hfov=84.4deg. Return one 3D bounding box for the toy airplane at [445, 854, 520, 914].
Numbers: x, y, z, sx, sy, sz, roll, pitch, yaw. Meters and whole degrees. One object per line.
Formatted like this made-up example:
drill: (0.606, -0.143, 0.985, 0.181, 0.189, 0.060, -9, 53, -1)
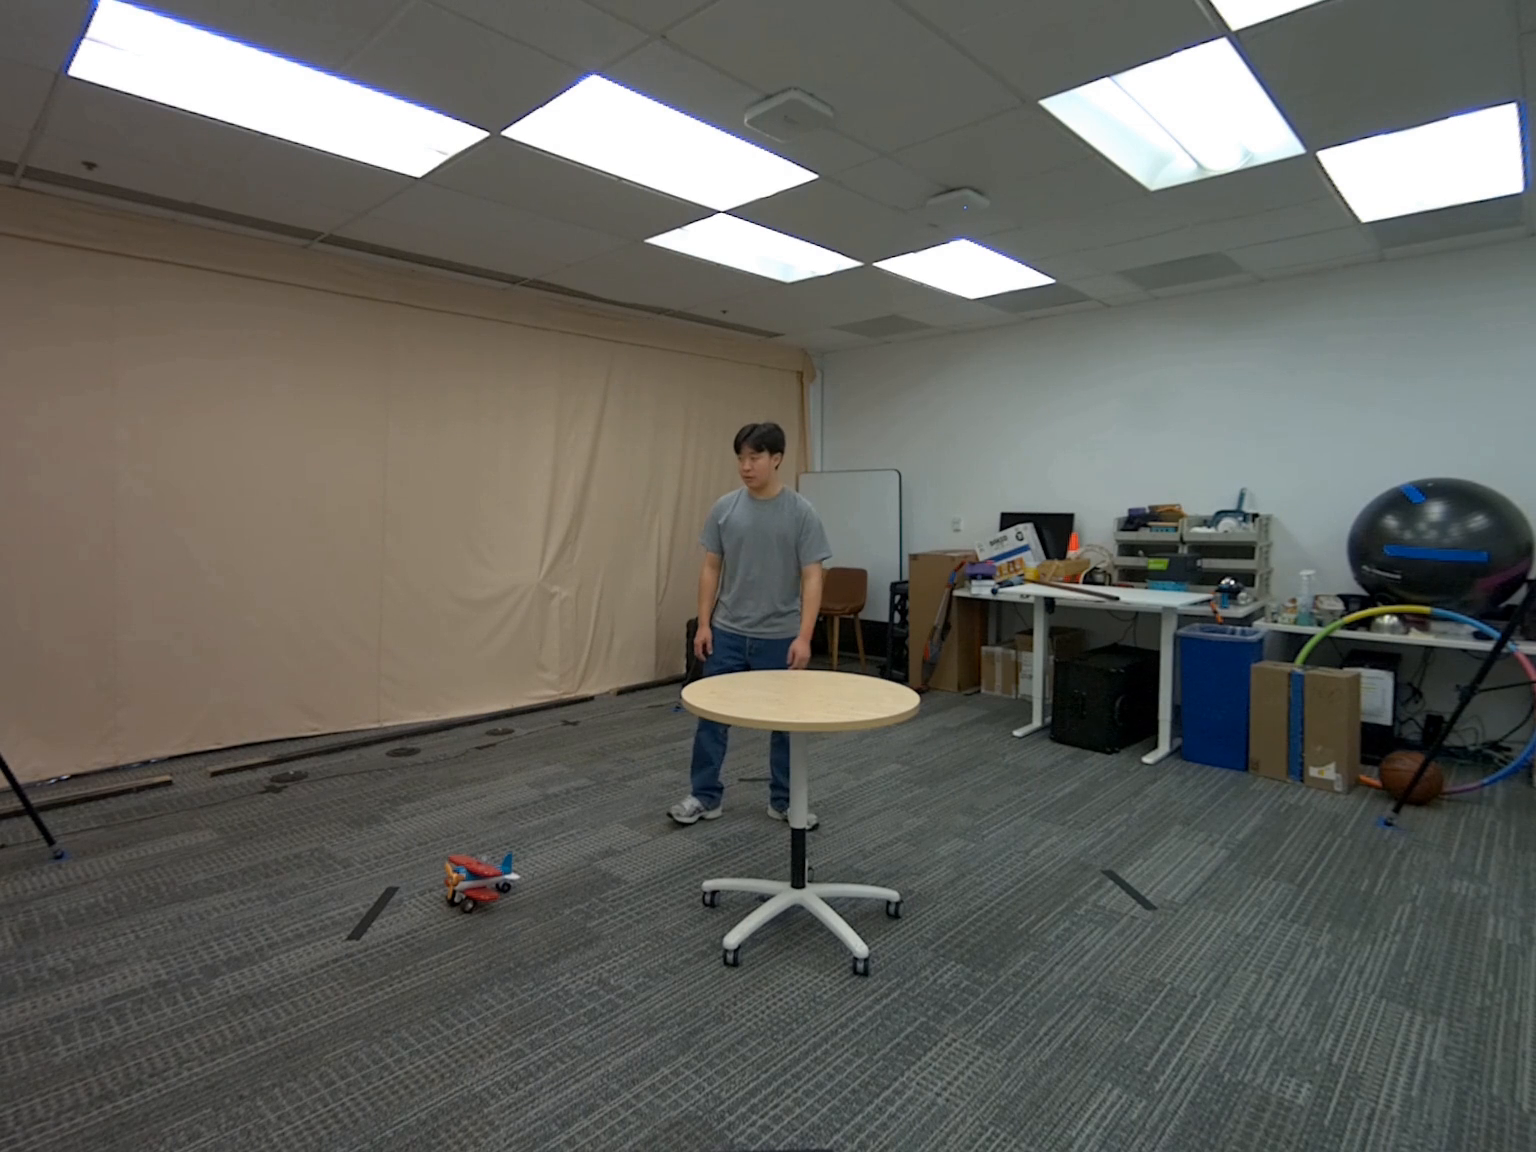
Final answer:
toy airplane: (-1.036, 1.078, 2.991, 0.254, 0.156, 0.257, 1, 5, 9)
